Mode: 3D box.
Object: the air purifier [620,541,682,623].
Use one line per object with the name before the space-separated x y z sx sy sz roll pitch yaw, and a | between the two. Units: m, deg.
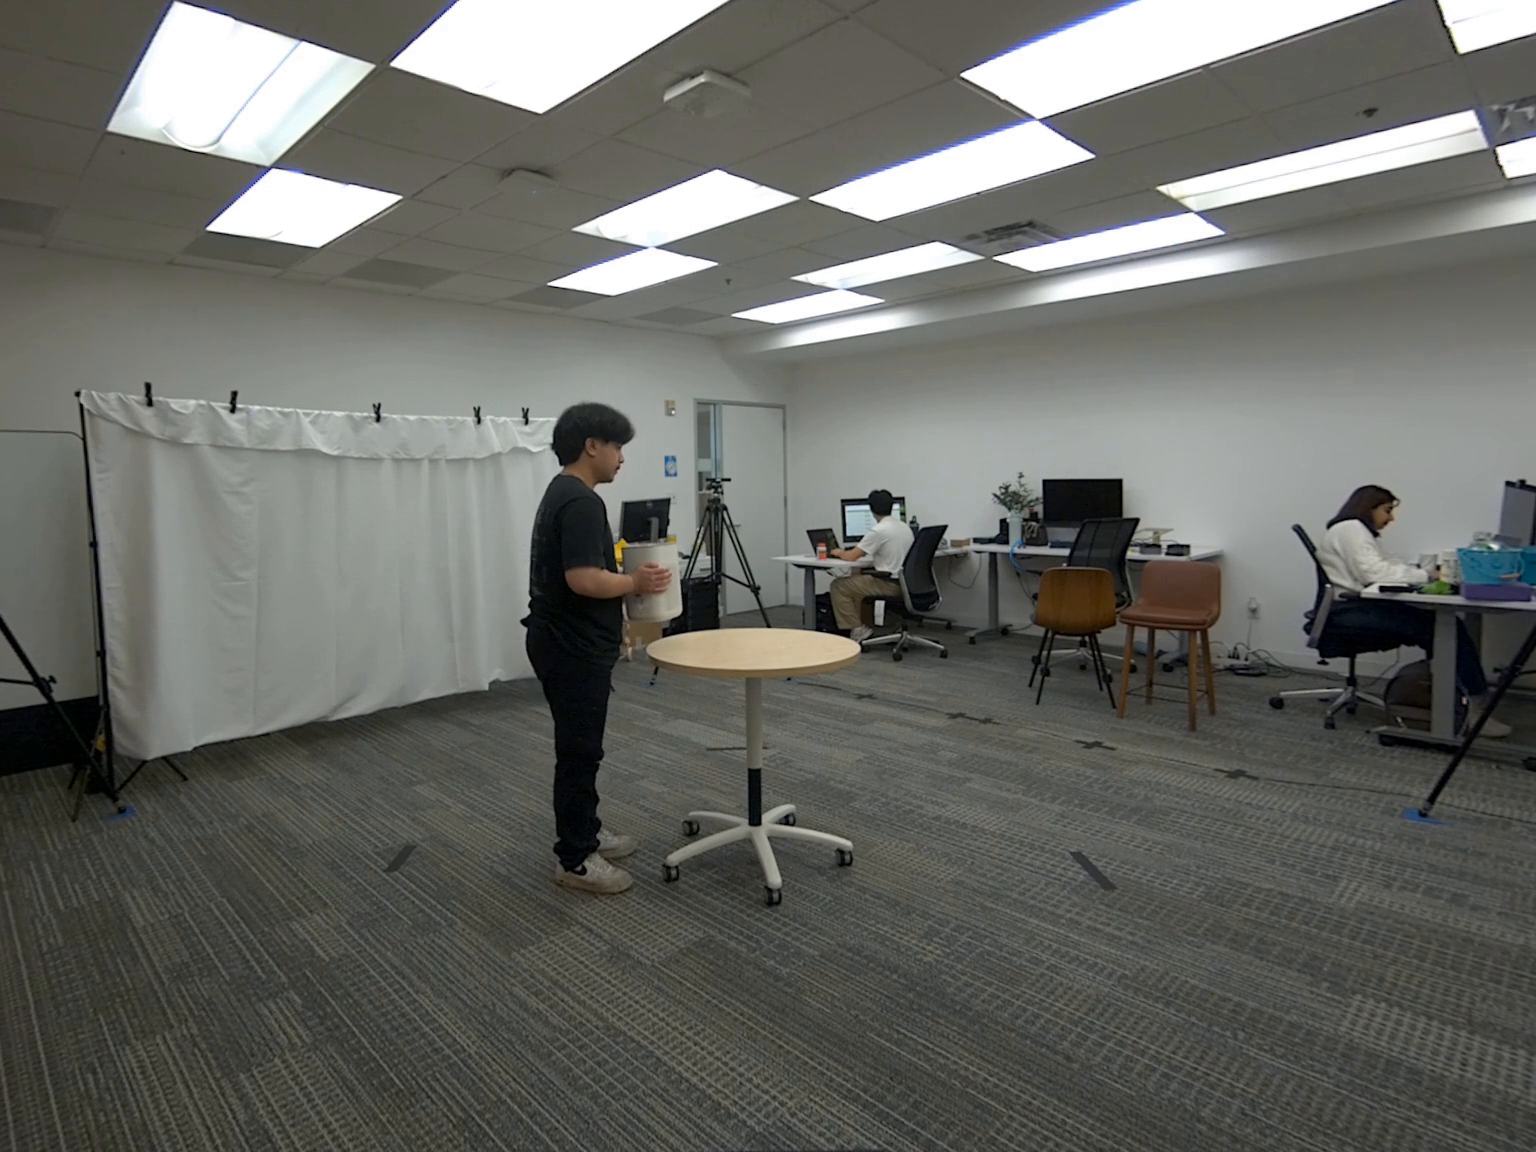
air purifier | -0.412 0.020 3.017 0.175 0.265 0.168 -3 3 28
